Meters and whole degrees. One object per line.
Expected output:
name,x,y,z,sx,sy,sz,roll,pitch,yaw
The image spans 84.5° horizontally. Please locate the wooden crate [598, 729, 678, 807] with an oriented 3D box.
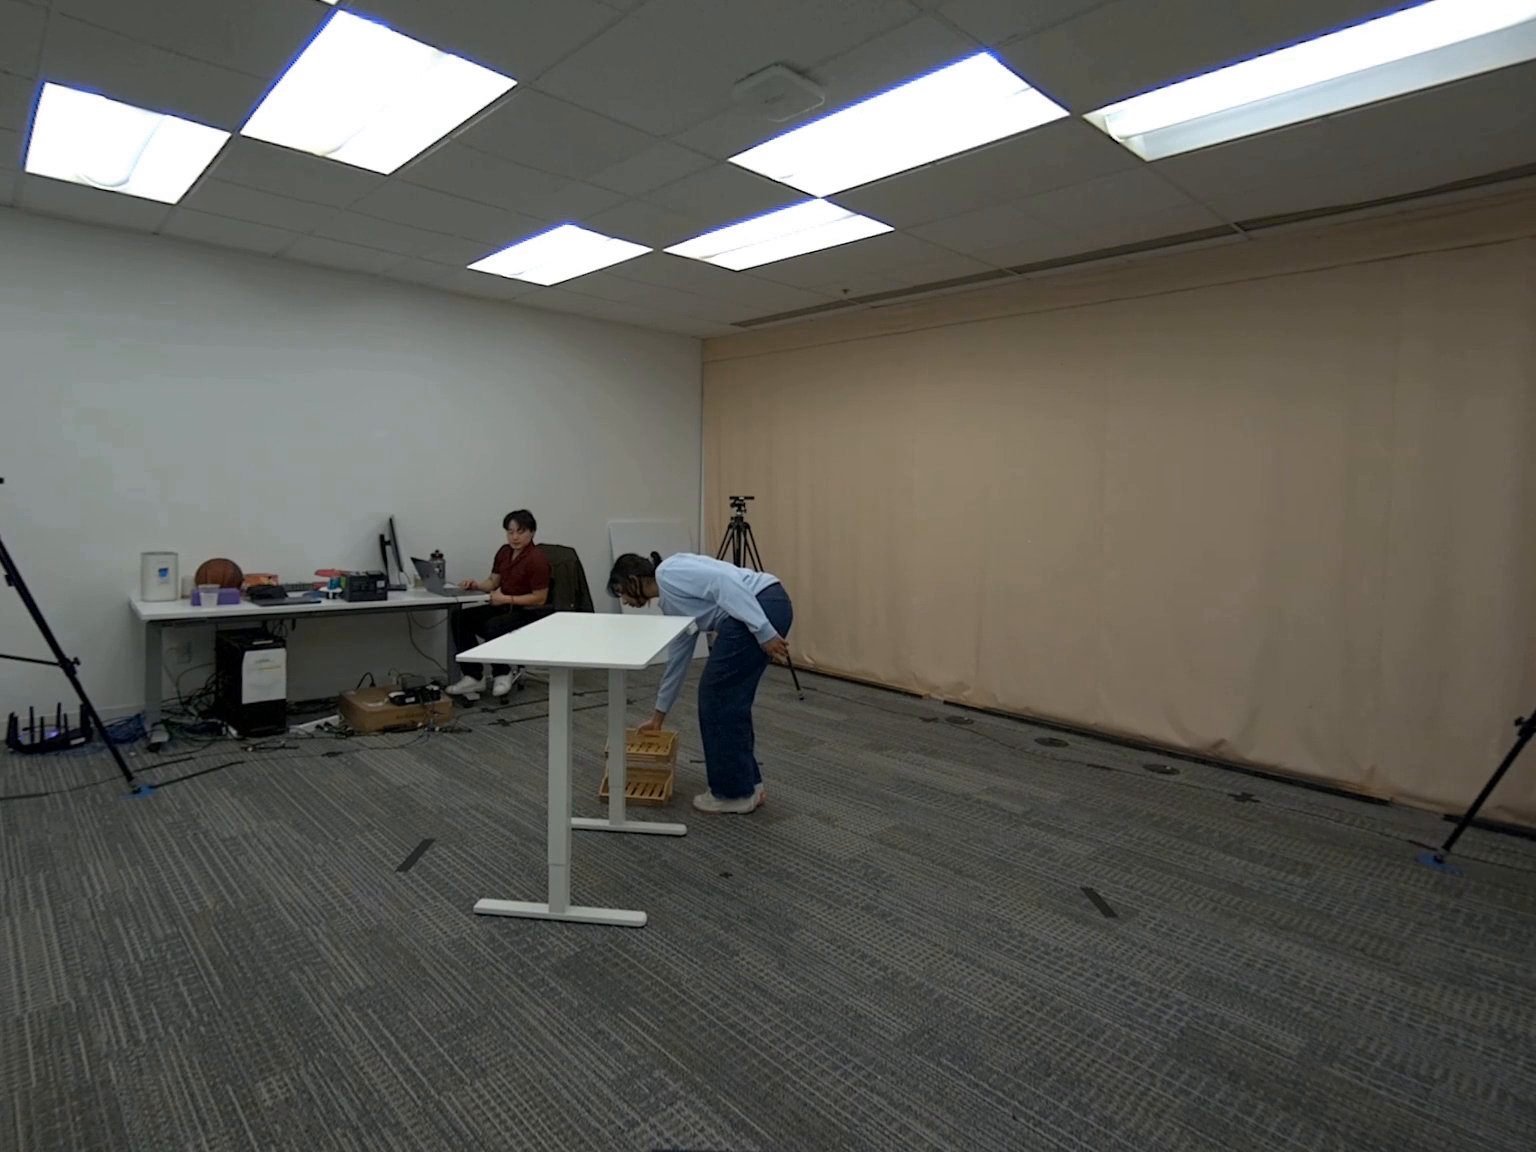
wooden crate,-0.599,0.872,3.892,0.326,0.272,0.301,2,5,6
